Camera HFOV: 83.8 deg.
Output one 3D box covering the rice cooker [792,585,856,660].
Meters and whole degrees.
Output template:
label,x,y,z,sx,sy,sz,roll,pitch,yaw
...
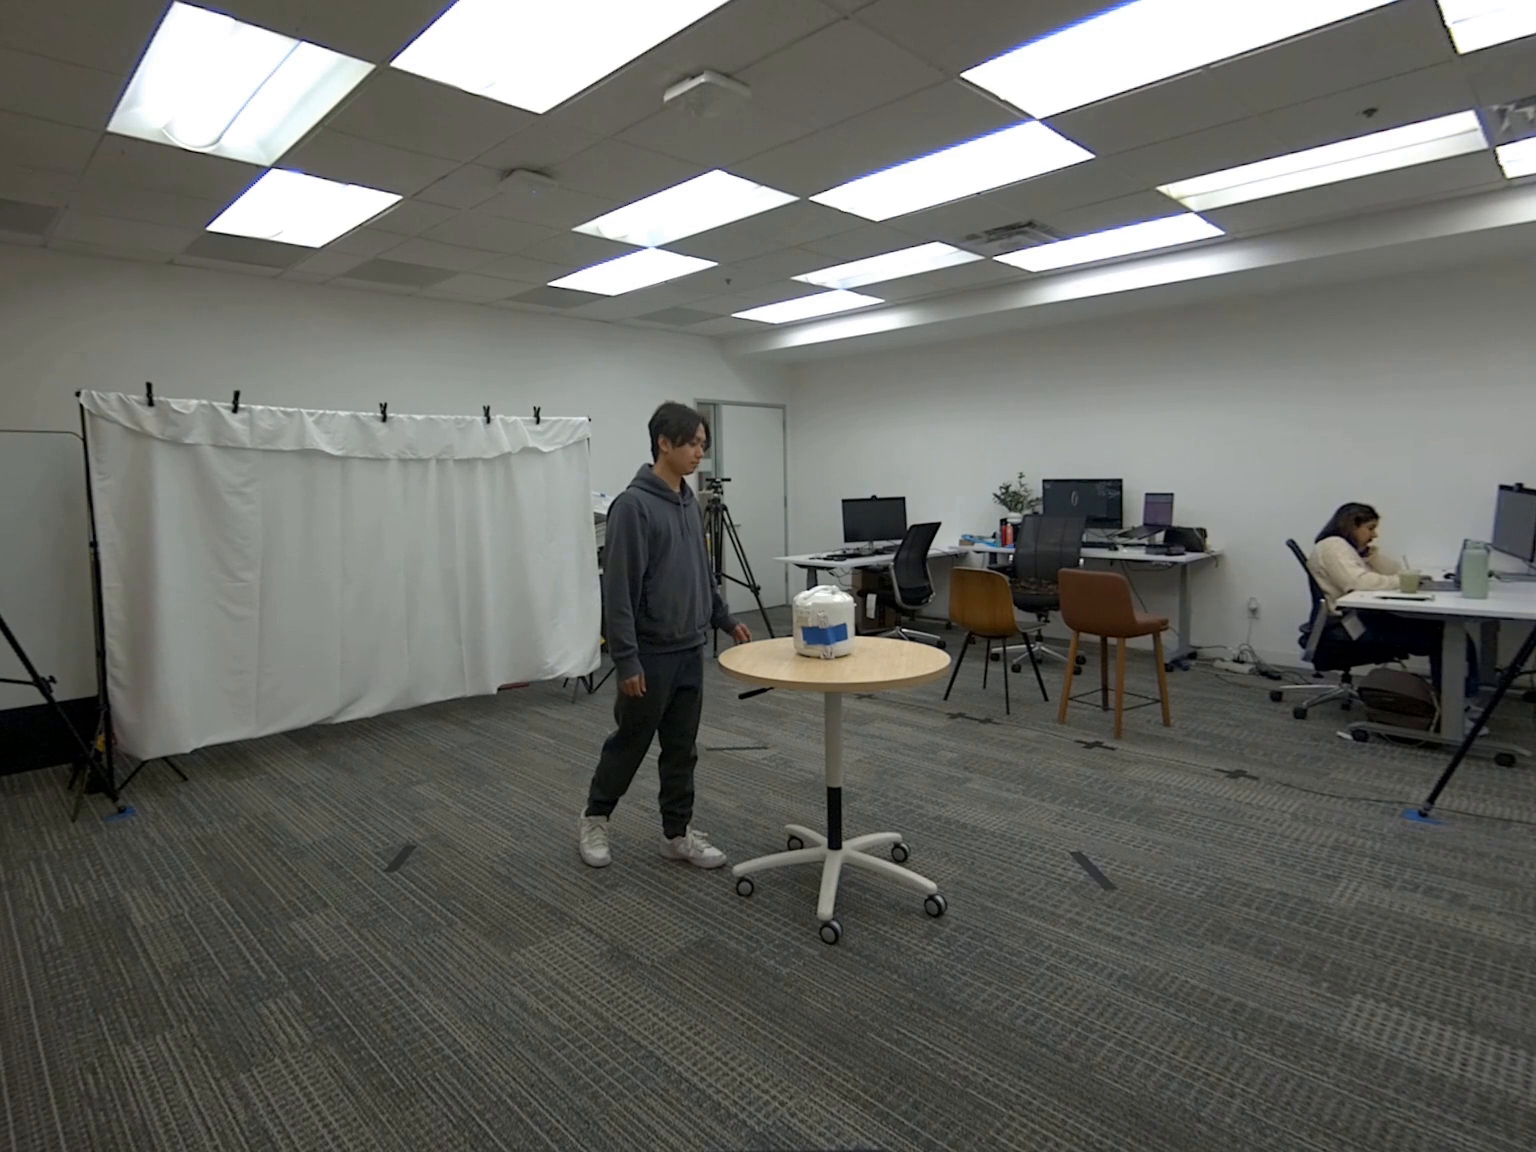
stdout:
label,x,y,z,sx,sy,sz,roll,pitch,yaw
rice cooker,0.185,0.148,2.897,0.215,0.232,0.224,-5,7,-44
